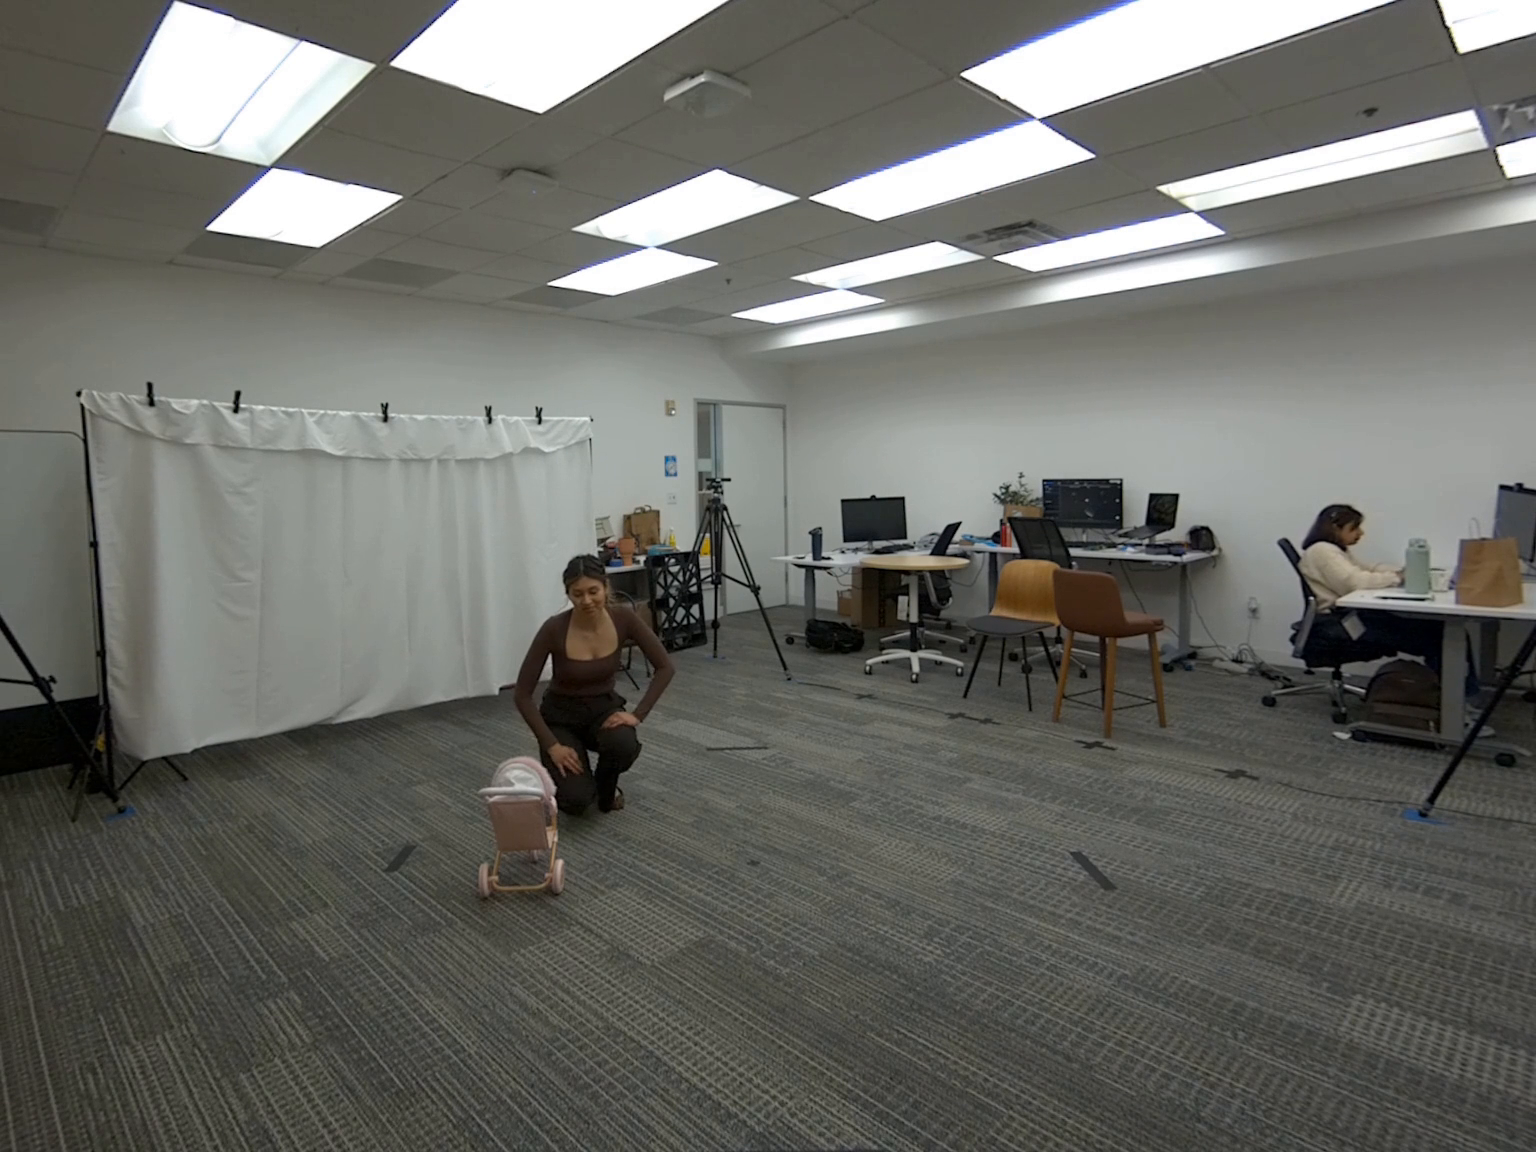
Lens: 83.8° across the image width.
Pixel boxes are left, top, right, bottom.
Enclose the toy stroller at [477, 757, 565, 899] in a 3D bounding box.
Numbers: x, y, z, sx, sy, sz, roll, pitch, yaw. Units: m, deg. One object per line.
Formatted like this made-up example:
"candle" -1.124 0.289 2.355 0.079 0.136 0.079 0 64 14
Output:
"toy stroller" -0.850 0.857 2.954 0.281 0.525 0.348 -1 22 -1
